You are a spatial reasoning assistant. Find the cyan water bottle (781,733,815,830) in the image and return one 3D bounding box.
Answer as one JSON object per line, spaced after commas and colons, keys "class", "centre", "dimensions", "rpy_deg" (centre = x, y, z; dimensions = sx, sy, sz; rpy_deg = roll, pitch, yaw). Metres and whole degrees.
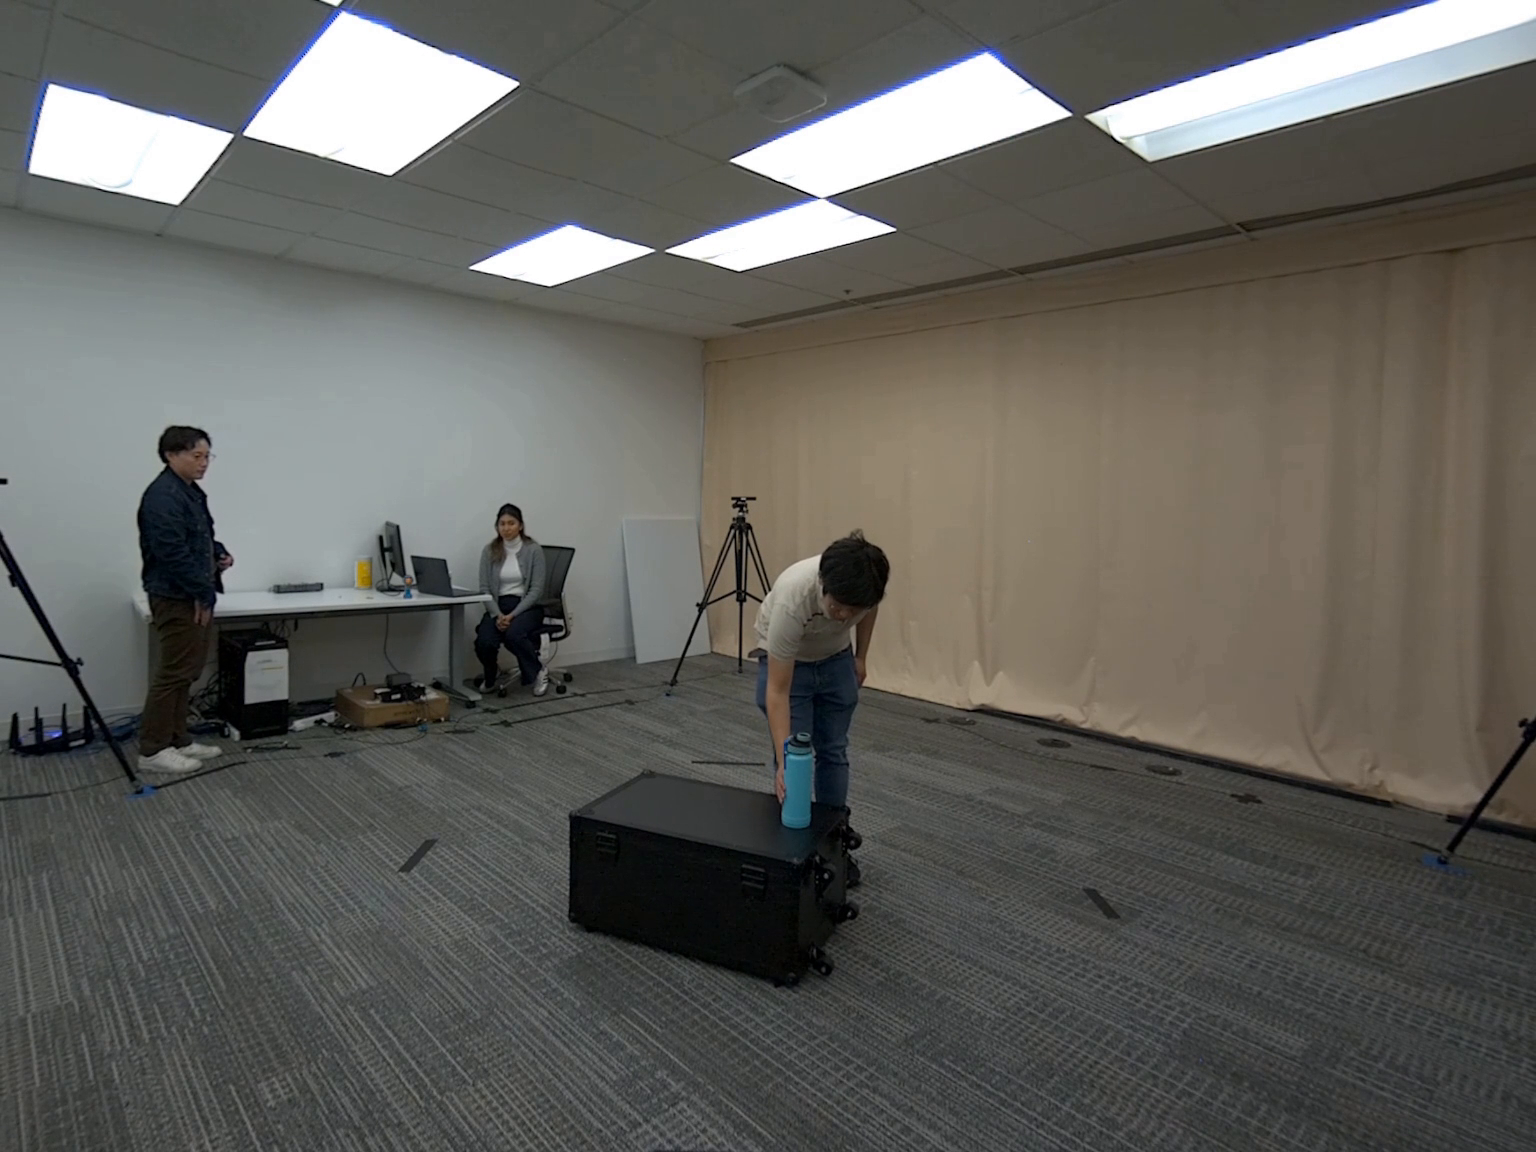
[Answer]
{"class": "cyan water bottle", "centre": [0.082, 0.640, 2.635], "dimensions": [0.092, 0.282, 0.092], "rpy_deg": [1, 4, -1]}
